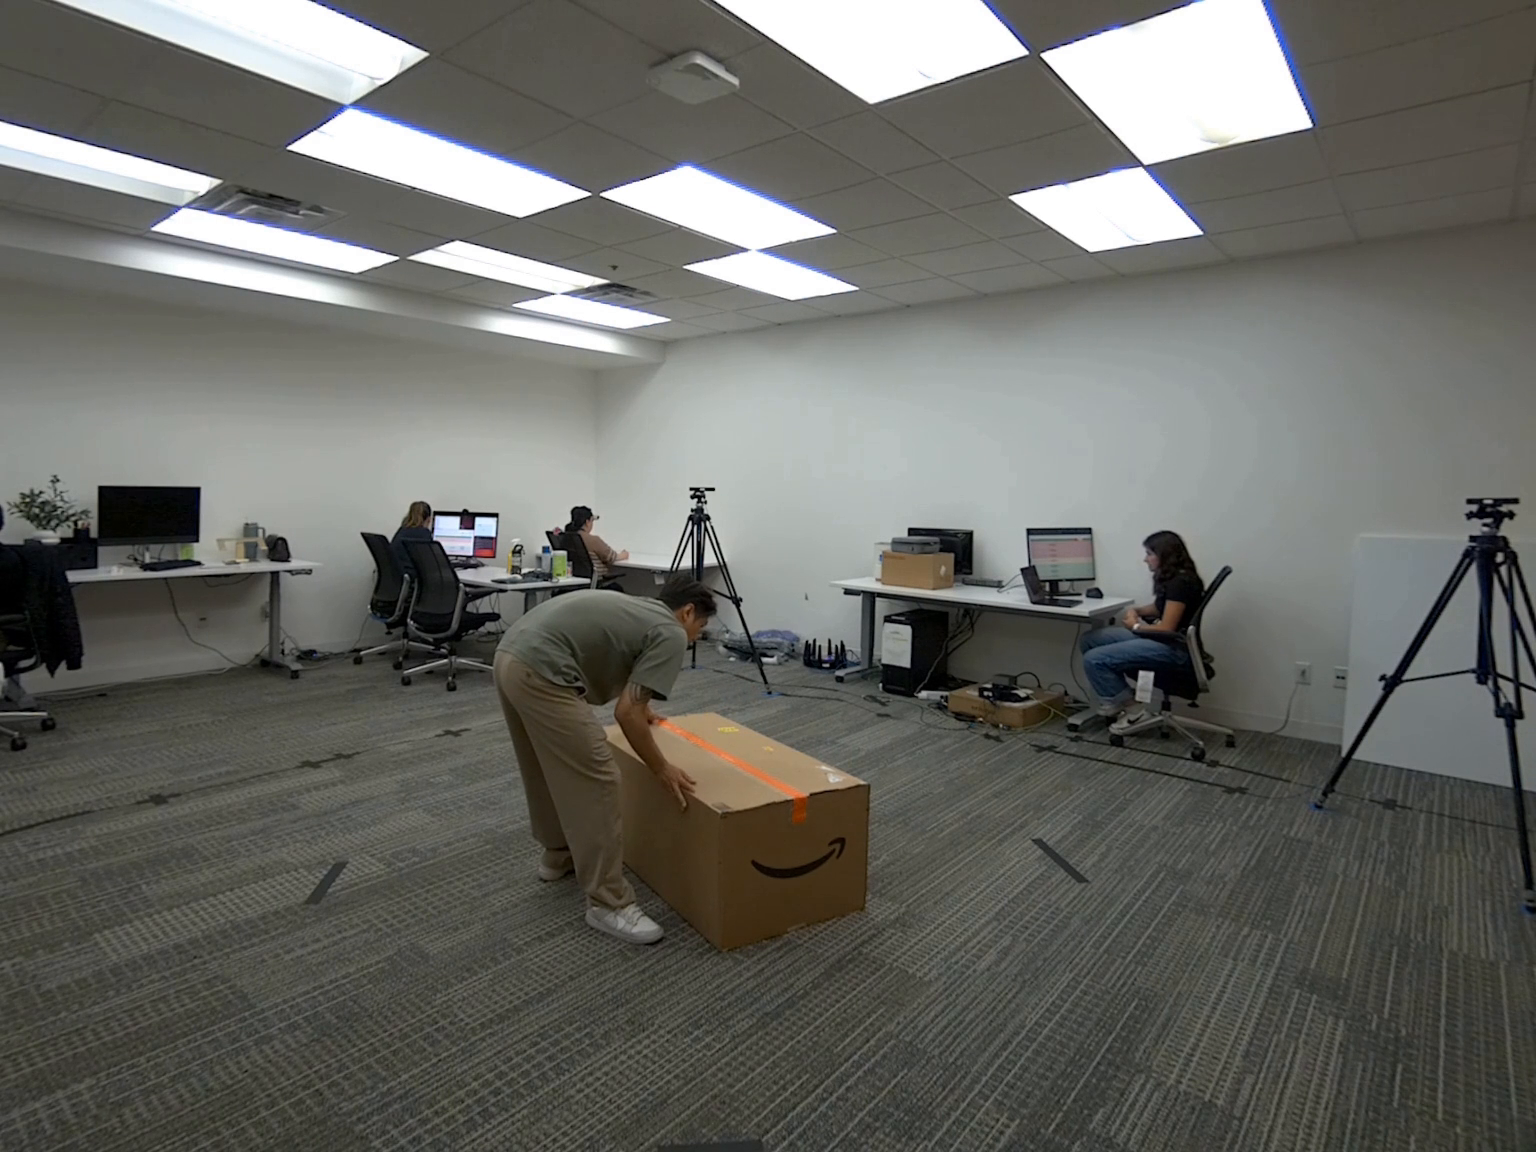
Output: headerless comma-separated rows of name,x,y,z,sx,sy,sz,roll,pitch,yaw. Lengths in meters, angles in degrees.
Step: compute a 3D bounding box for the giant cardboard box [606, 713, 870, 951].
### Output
giant cardboard box,-0.194,0.849,3.109,0.562,0.424,1.059,-2,6,-33
